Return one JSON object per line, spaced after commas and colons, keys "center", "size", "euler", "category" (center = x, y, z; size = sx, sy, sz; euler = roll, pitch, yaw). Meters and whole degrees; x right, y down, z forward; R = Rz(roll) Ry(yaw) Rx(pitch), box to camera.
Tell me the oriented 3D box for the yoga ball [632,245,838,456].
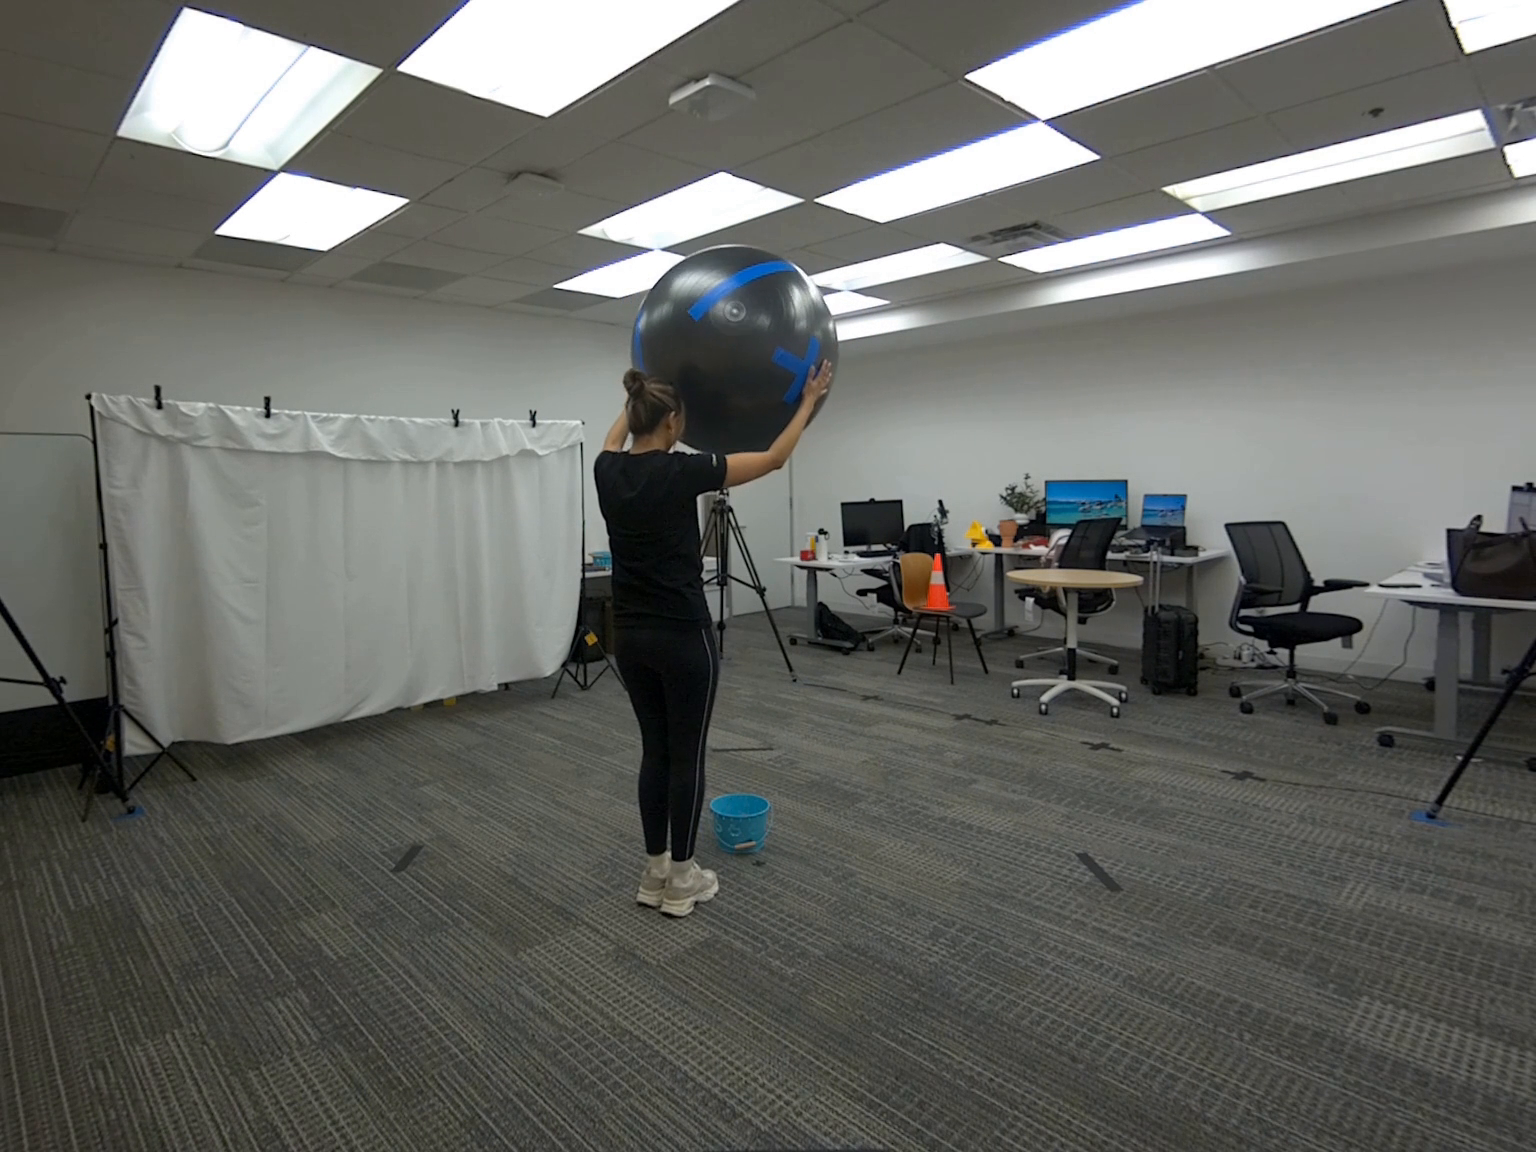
{"center": [-0.121, -0.804, 3.126], "size": [0.757, 0.755, 0.762], "euler": [-1, 5, -2], "category": "yoga ball"}
